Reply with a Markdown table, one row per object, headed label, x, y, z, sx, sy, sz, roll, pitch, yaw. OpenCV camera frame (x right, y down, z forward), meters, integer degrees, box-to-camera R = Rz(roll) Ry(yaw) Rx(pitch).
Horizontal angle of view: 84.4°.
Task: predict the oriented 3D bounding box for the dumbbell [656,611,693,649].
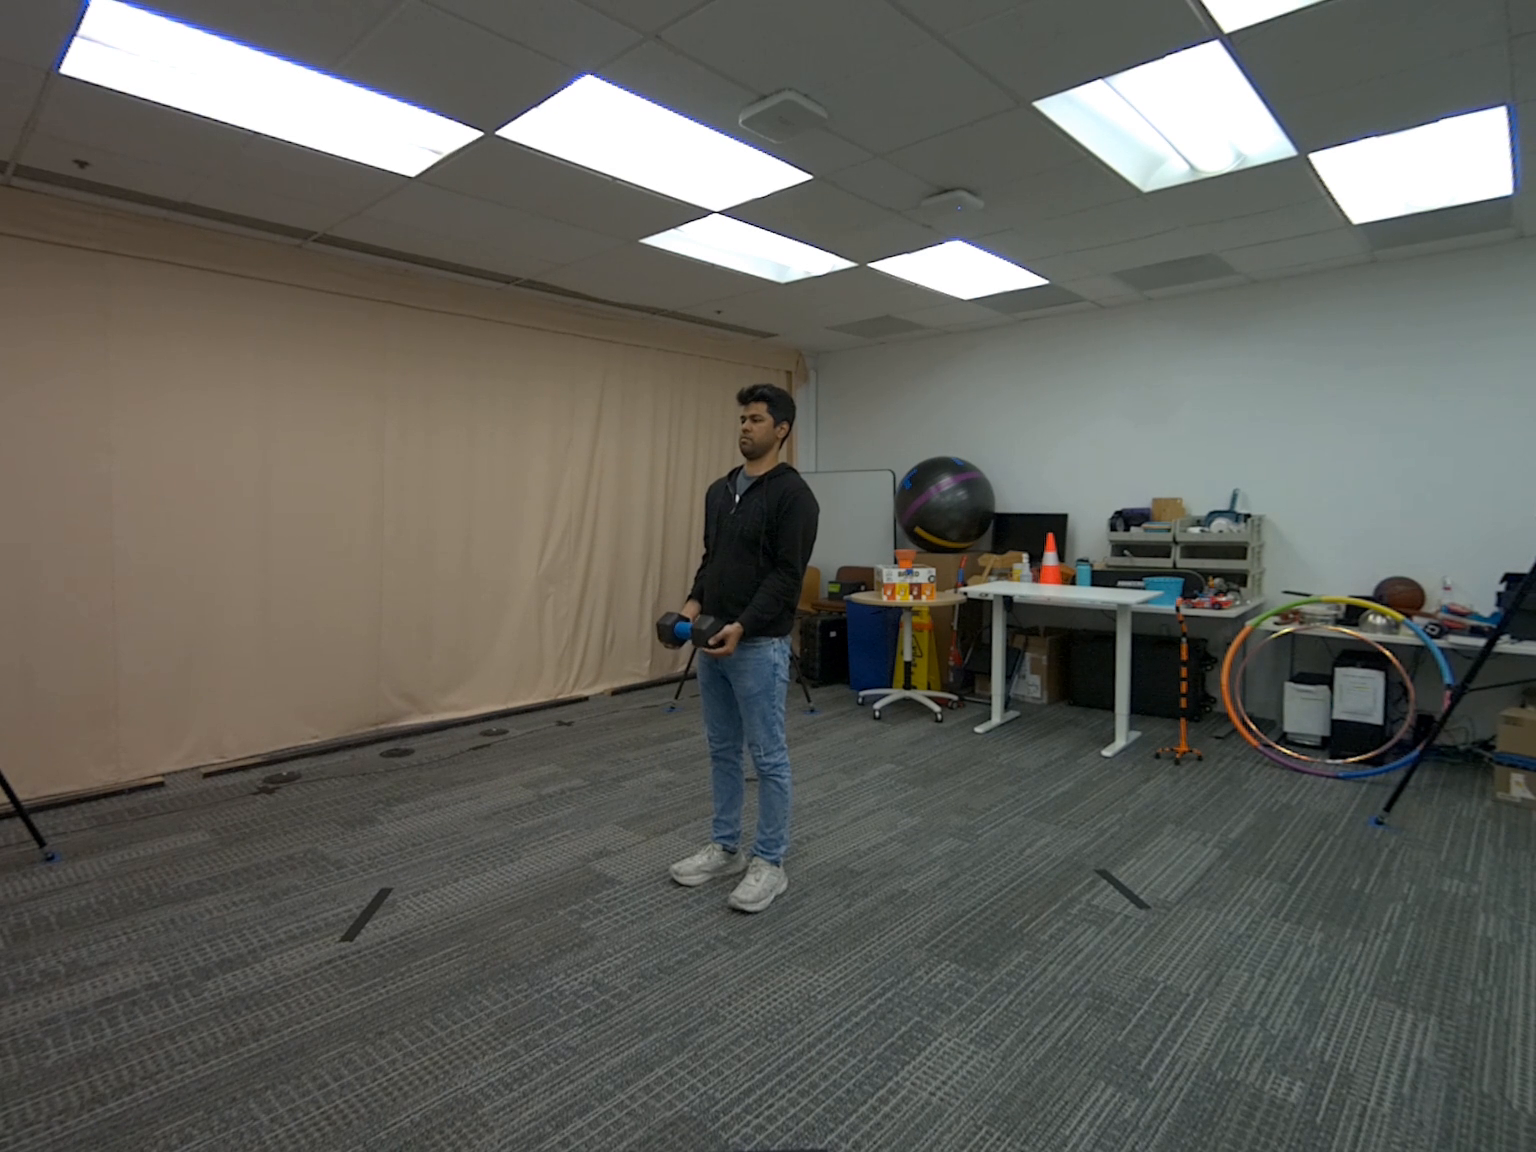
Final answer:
| label | x | y | z | sx | sy | sz | roll | pitch | yaw |
| --- | --- | --- | --- | --- | --- | --- | --- | --- | --- |
| dumbbell | -0.259 | 0.181 | 2.888 | 0.106 | 0.122 | 0.303 | -10 | 7 | -38 |
